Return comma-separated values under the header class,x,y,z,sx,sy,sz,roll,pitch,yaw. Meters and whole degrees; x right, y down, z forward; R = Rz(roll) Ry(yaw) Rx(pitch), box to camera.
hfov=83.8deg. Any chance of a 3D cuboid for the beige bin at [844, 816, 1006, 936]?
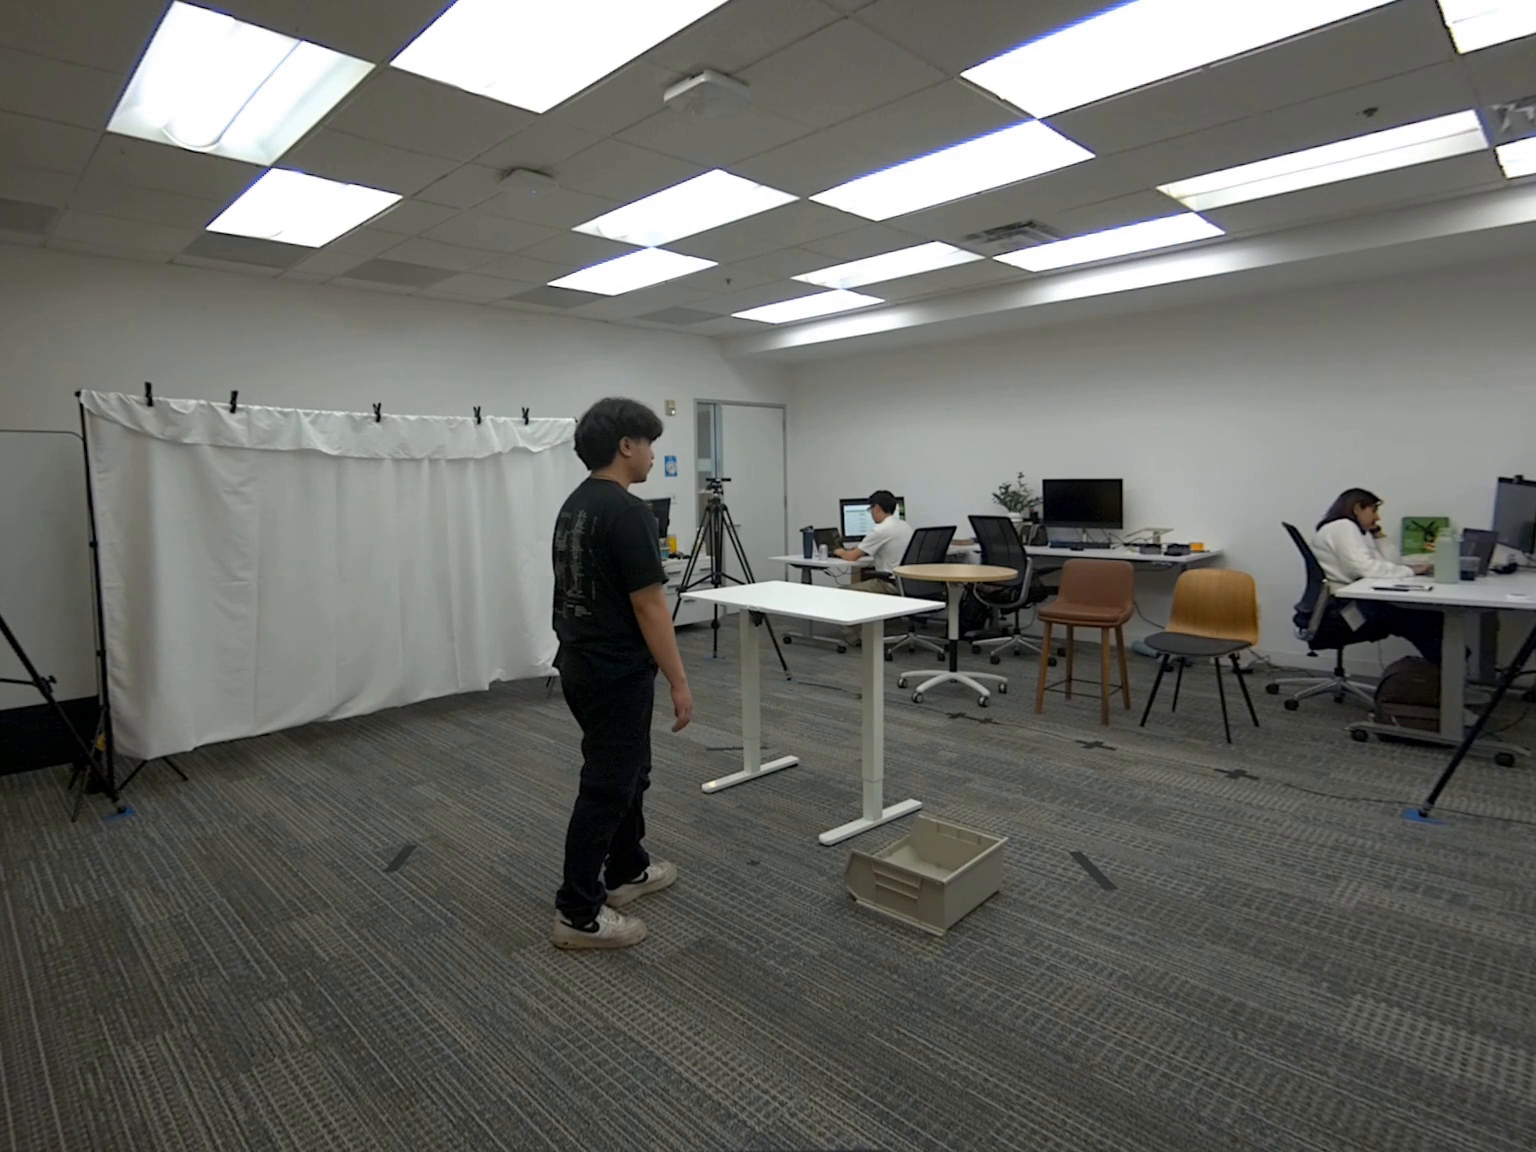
class,x,y,z,sx,sy,sz,roll,pitch,yaw
beige bin,0.530,0.975,2.843,0.389,0.188,0.411,5,8,41
